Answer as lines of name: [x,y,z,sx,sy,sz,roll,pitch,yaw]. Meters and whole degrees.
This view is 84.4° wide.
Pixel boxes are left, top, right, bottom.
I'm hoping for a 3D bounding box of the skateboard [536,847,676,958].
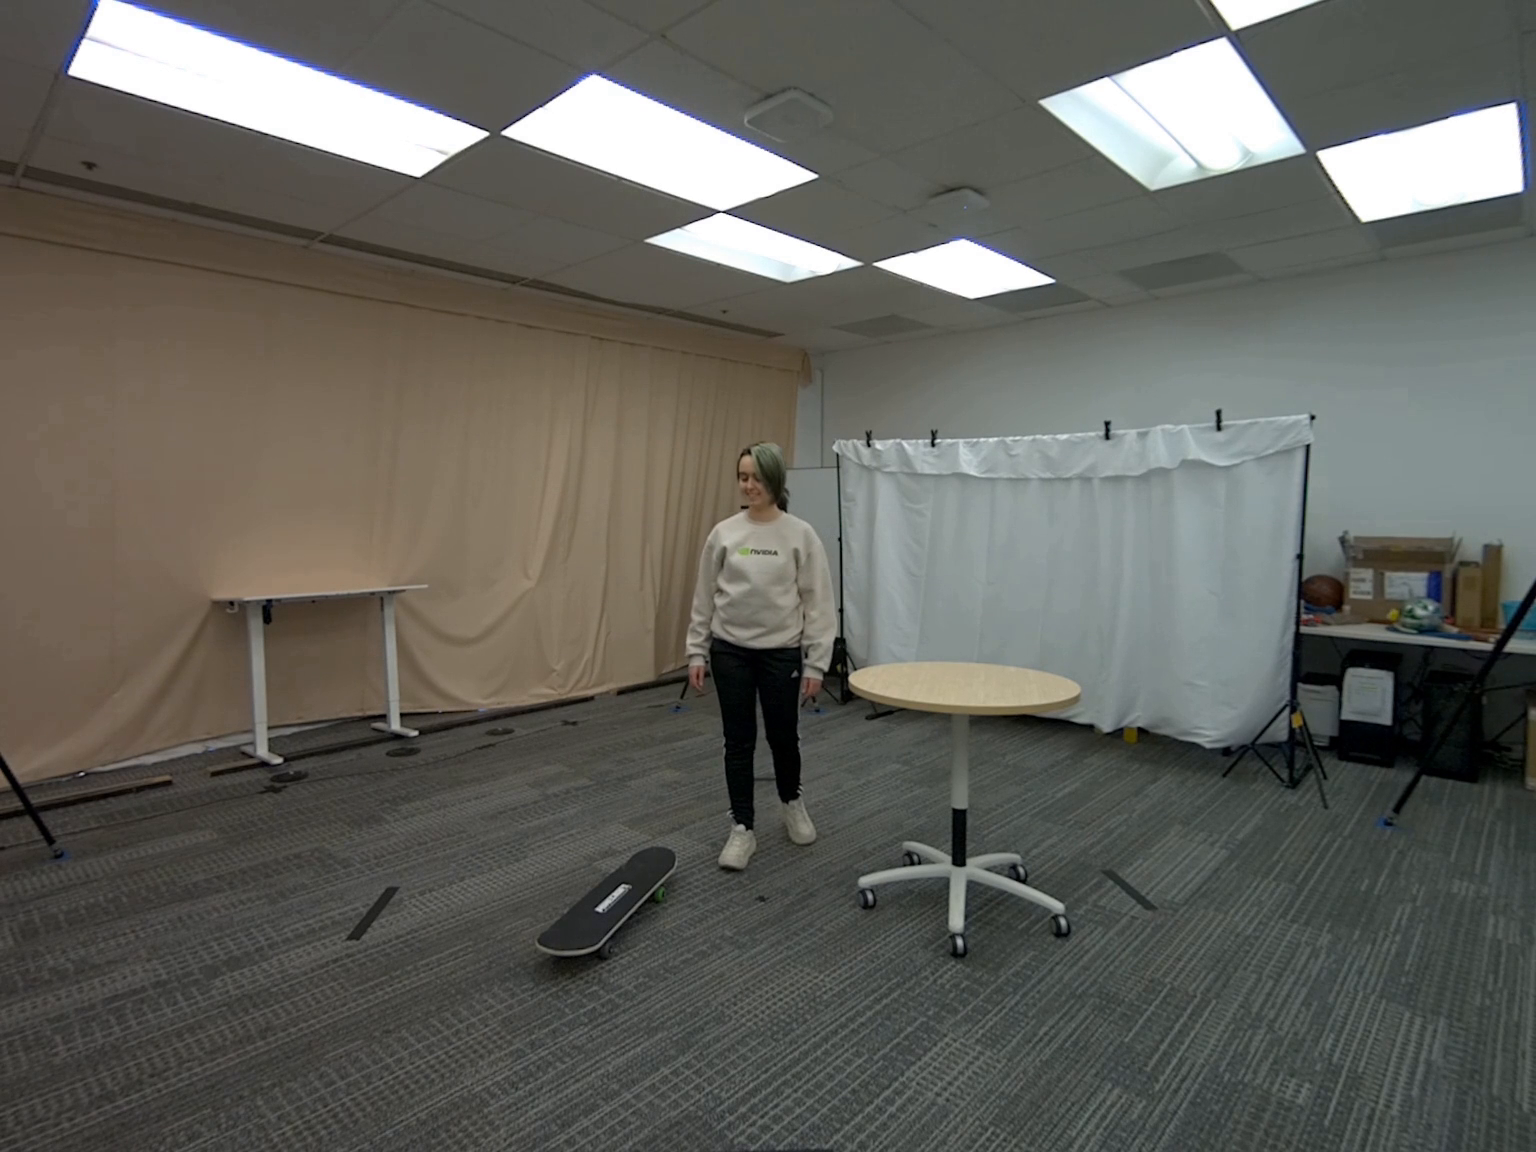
skateboard: [-0.518,1.105,2.804,0.197,0.110,0.771,1,5,18]
